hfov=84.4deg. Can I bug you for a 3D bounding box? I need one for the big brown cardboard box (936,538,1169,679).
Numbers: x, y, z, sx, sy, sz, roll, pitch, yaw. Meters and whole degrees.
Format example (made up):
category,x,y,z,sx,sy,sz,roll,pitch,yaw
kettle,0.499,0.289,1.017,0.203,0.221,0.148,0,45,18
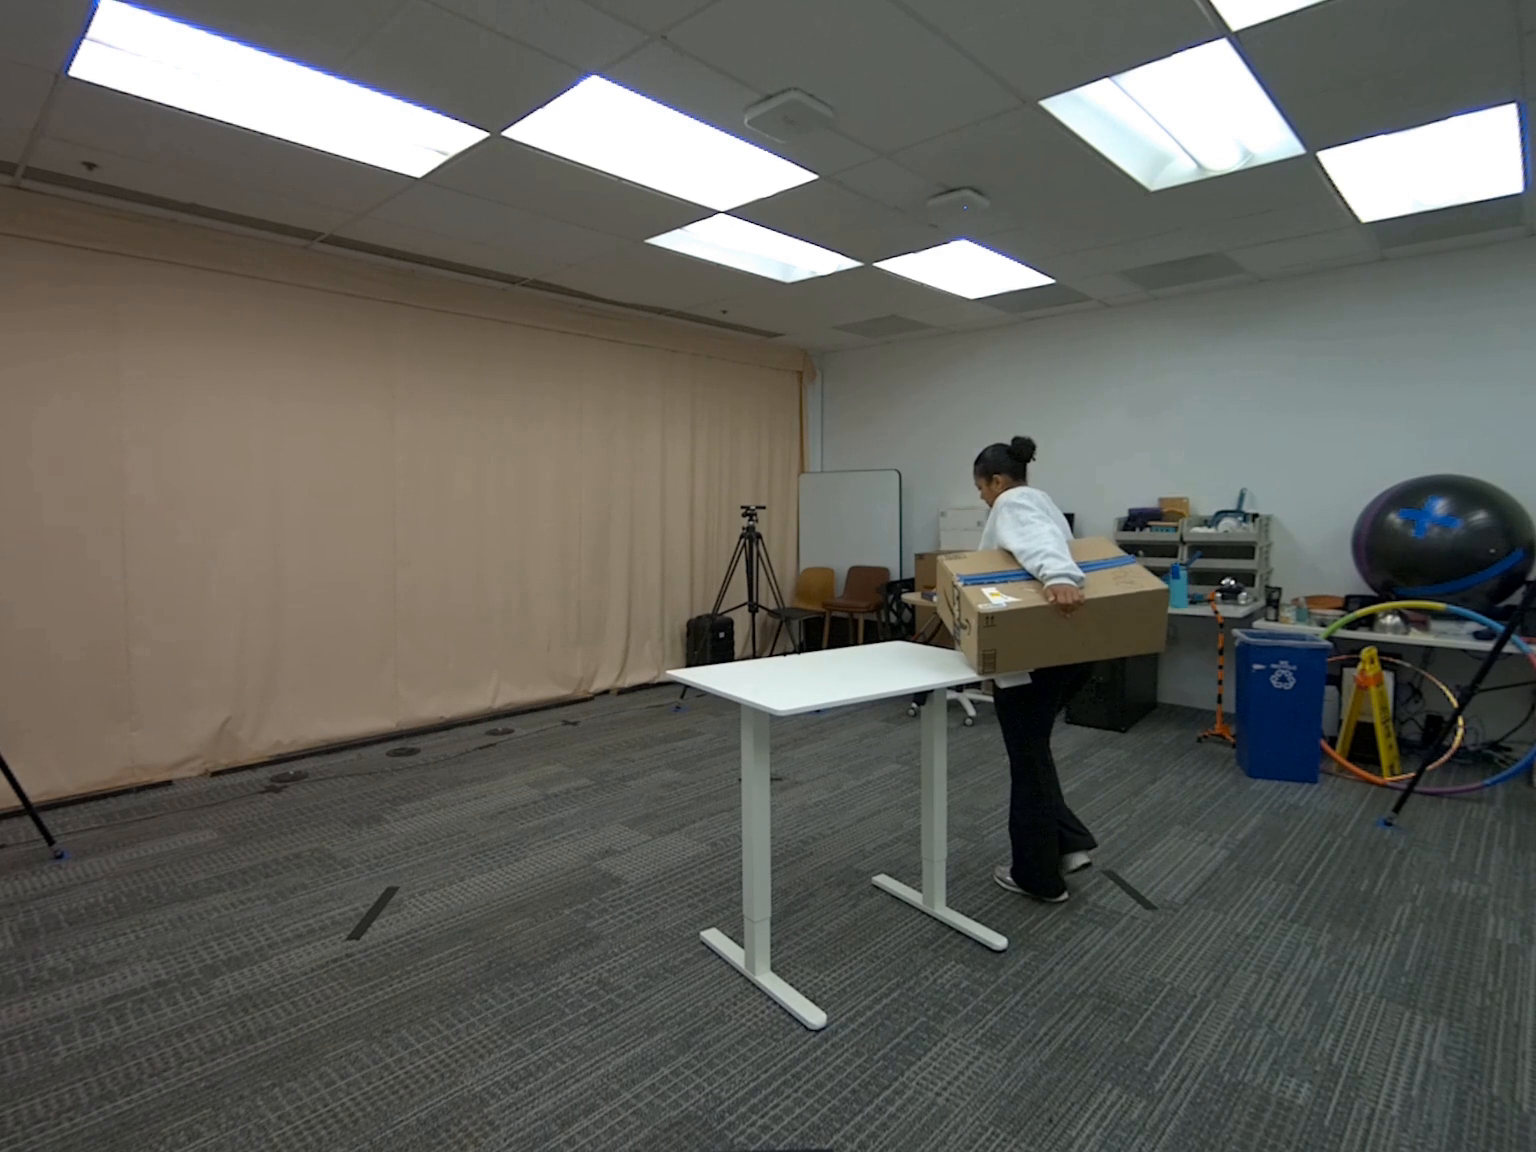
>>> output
category,x,y,z,sx,sy,sz,roll,pitch,yaw
big brown cardboard box,0.877,0.080,2.641,0.589,0.230,0.424,-5,23,0
